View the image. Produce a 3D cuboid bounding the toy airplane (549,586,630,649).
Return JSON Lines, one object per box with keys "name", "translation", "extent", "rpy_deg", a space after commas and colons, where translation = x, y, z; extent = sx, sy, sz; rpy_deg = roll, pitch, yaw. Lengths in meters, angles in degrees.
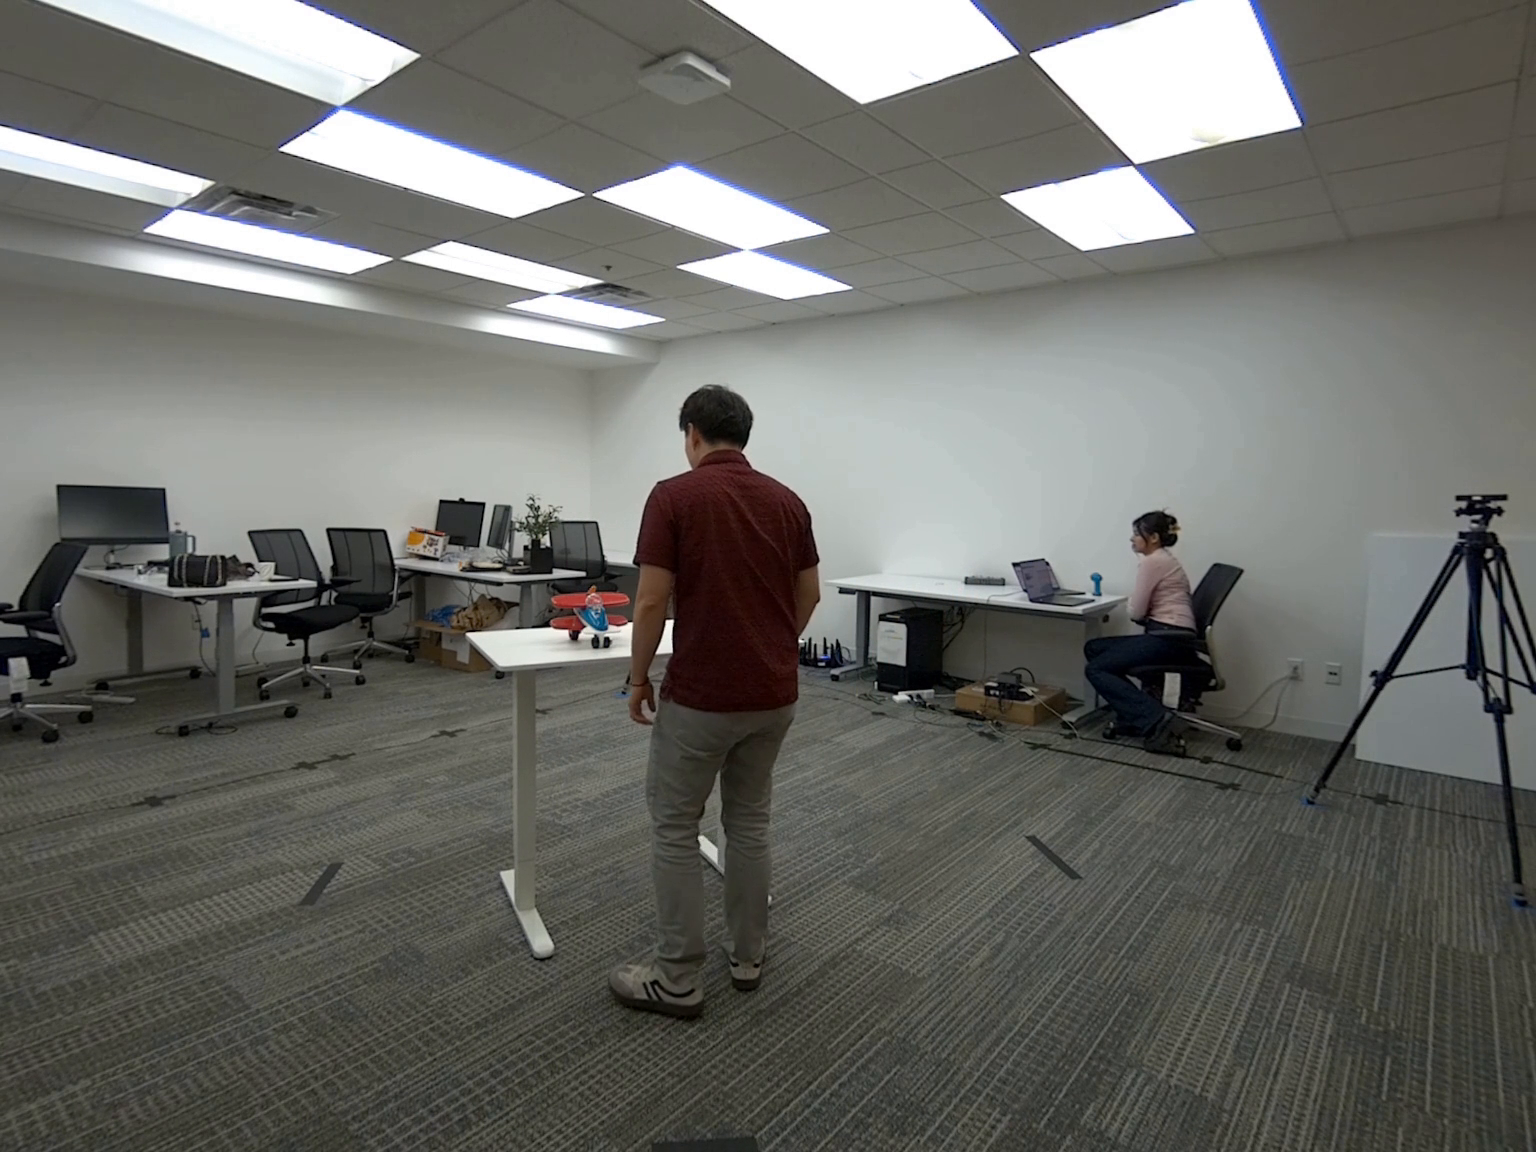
{"name": "toy airplane", "translation": [-0.563, 0.137, 2.769], "extent": [0.268, 0.156, 0.244], "rpy_deg": [4, 6, 37]}
